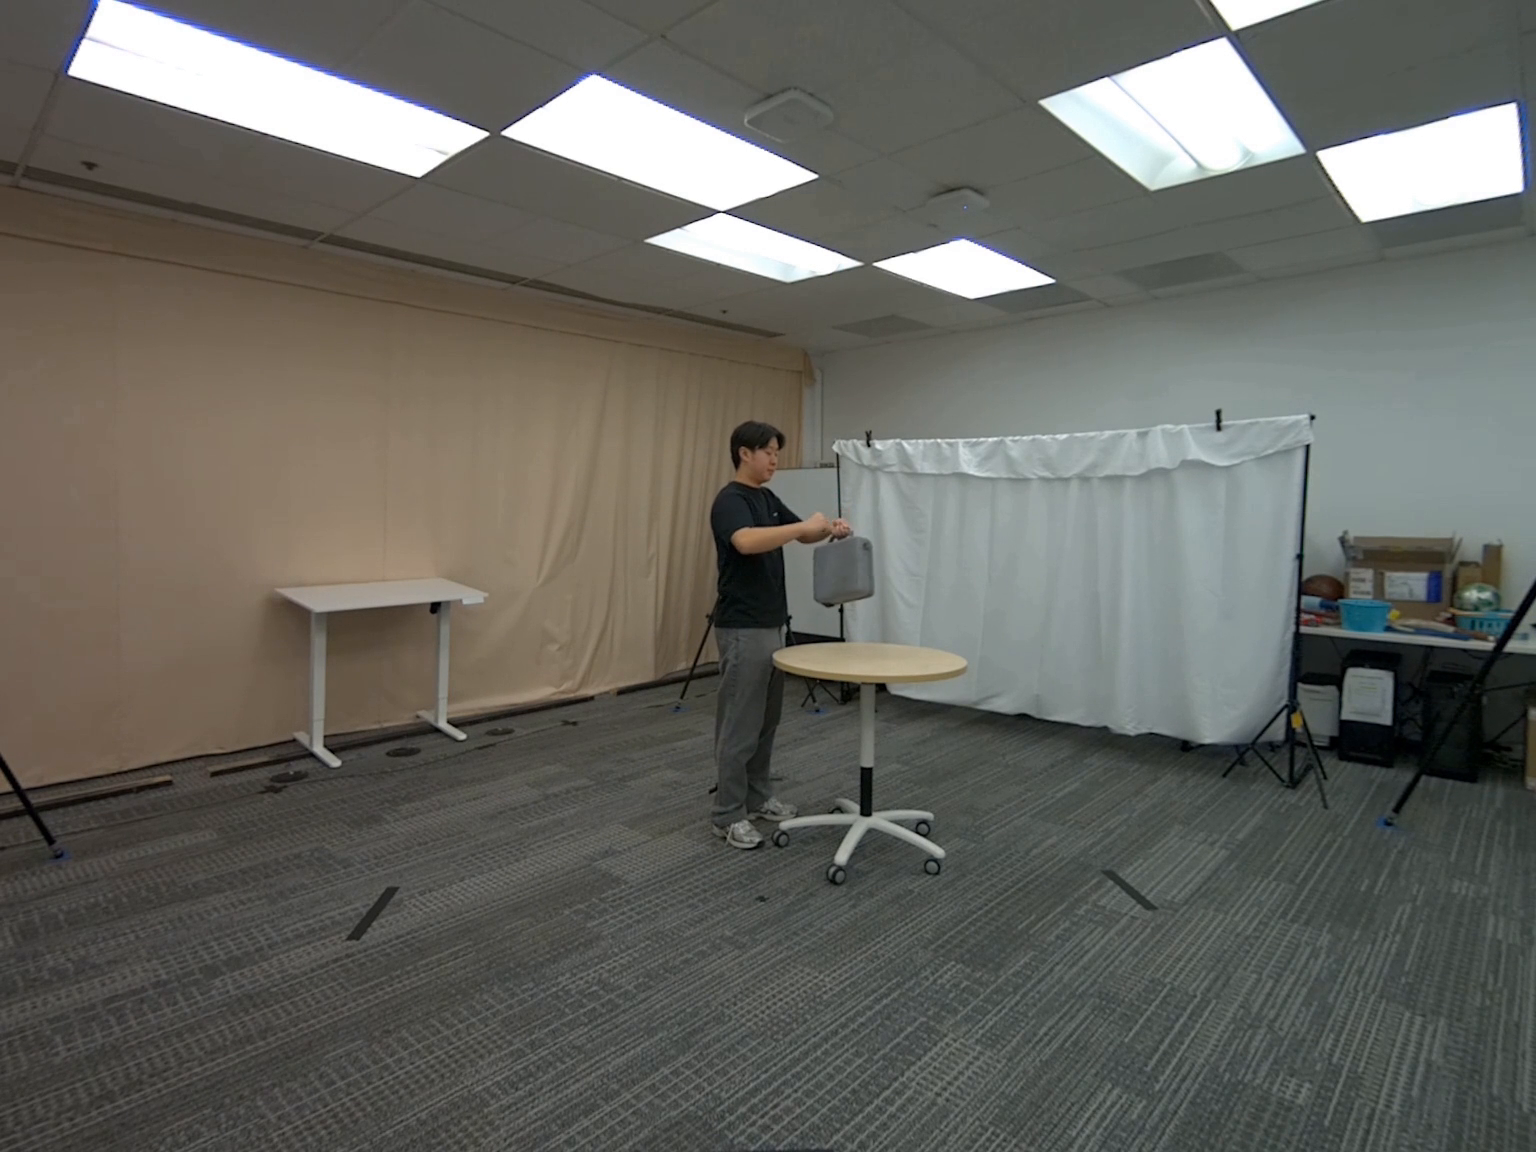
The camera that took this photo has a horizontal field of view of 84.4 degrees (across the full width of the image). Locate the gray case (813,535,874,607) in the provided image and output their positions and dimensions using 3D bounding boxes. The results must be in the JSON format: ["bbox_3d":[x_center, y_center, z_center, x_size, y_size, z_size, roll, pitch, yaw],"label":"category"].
[{"bbox_3d":[0.316,-0.032,3.468,0.270,0.290,0.099,-15,-19,41],"label":"gray case"}]
